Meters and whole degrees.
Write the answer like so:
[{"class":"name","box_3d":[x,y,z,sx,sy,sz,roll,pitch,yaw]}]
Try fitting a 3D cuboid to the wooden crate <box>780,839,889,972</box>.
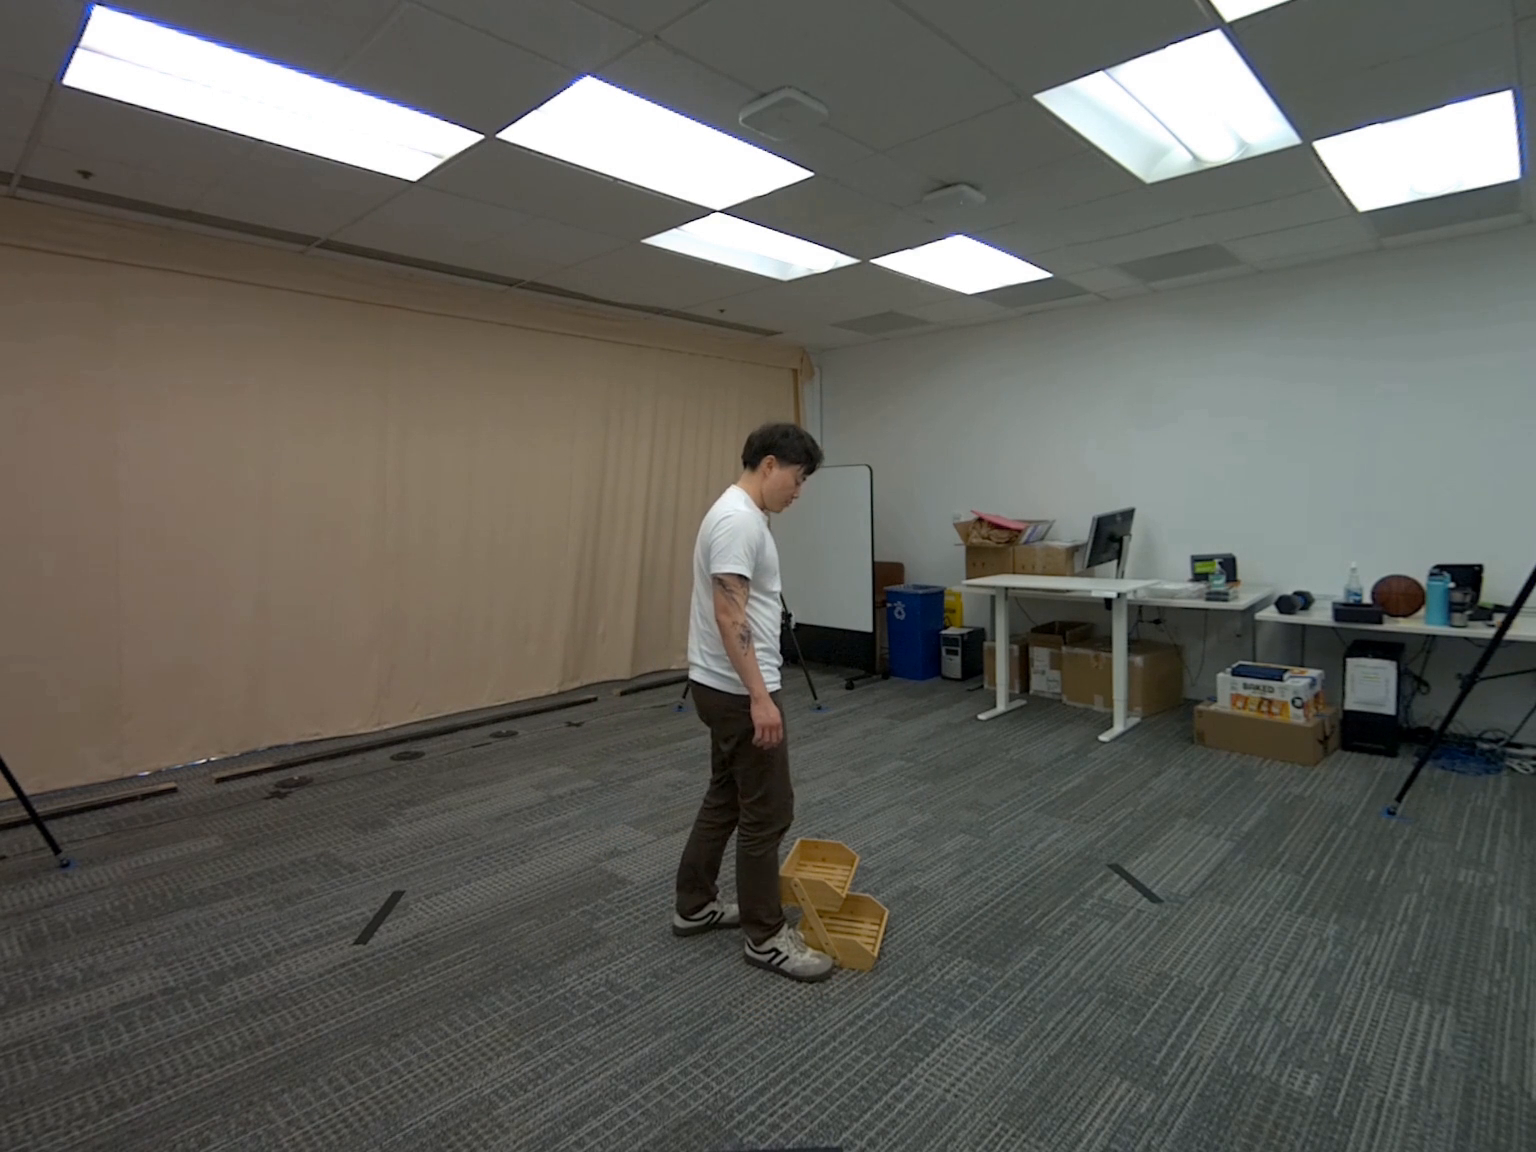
[{"class":"wooden crate","box_3d":[0.218,1.033,2.672,0.307,0.273,0.319,-1,4,16]}]
